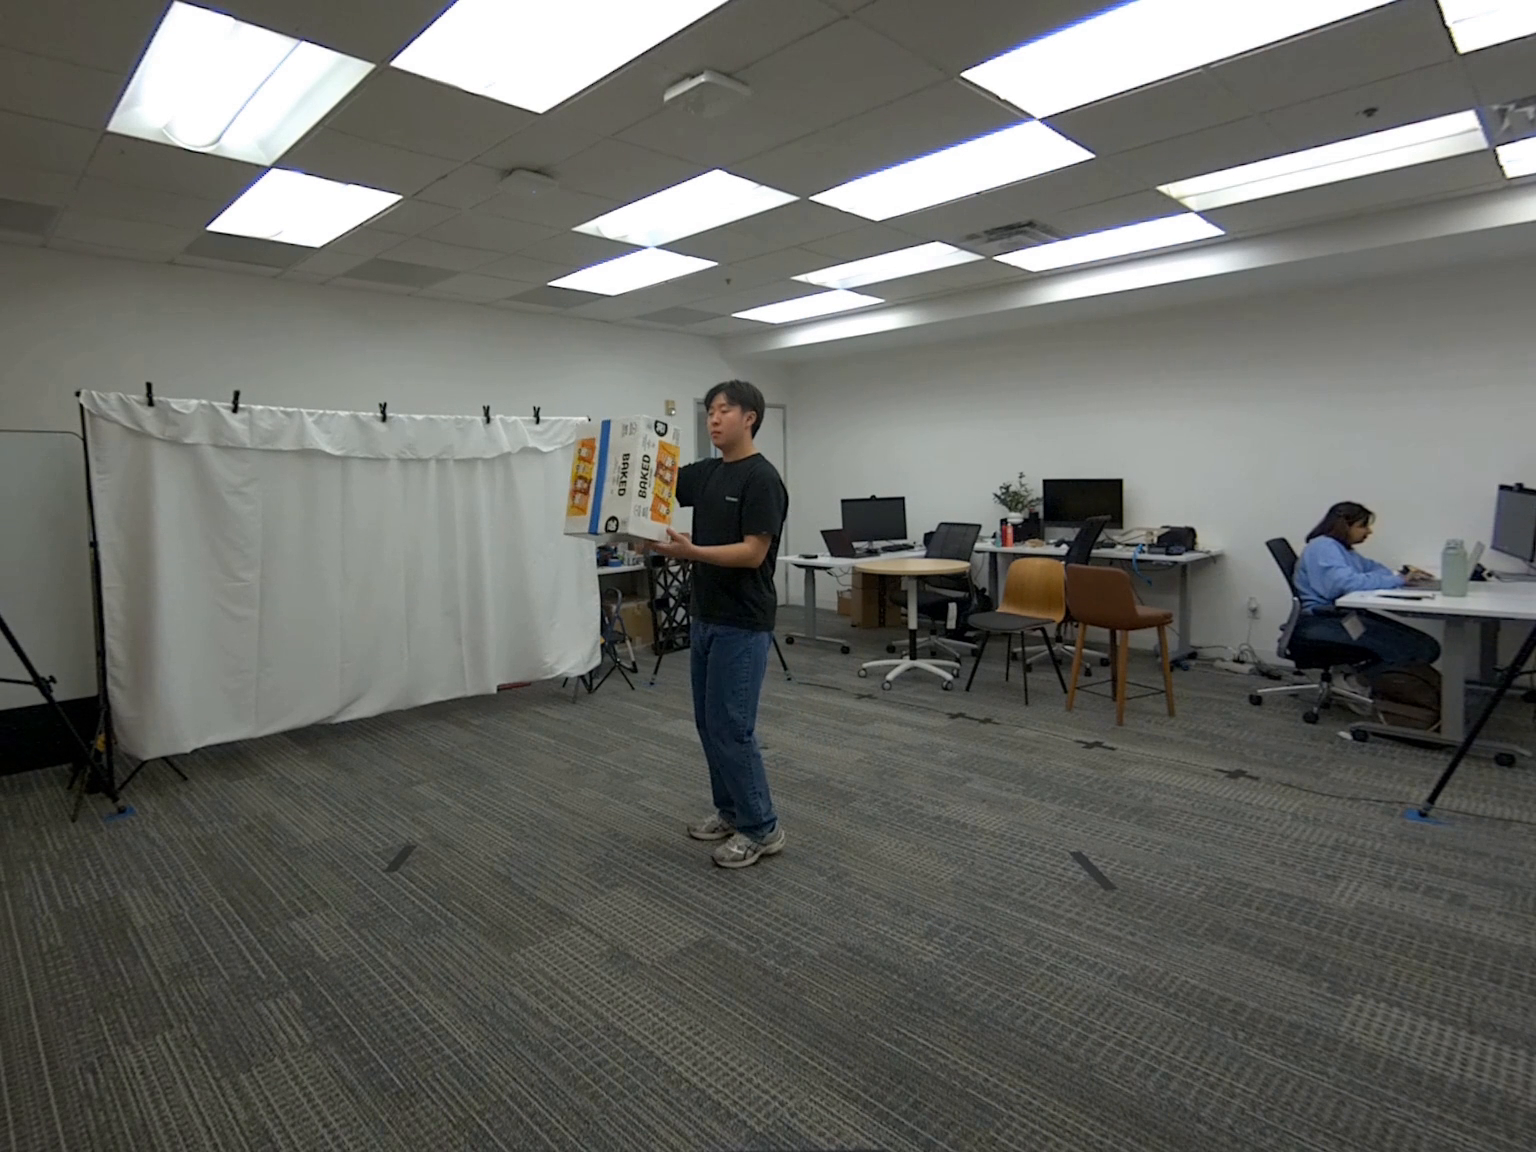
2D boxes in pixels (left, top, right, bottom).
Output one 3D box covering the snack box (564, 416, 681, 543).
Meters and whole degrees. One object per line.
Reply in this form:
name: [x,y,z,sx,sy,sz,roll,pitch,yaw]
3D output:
snack box: [-0.503,-0.331,2.991,0.350,0.407,0.199,-1,-9,40]
